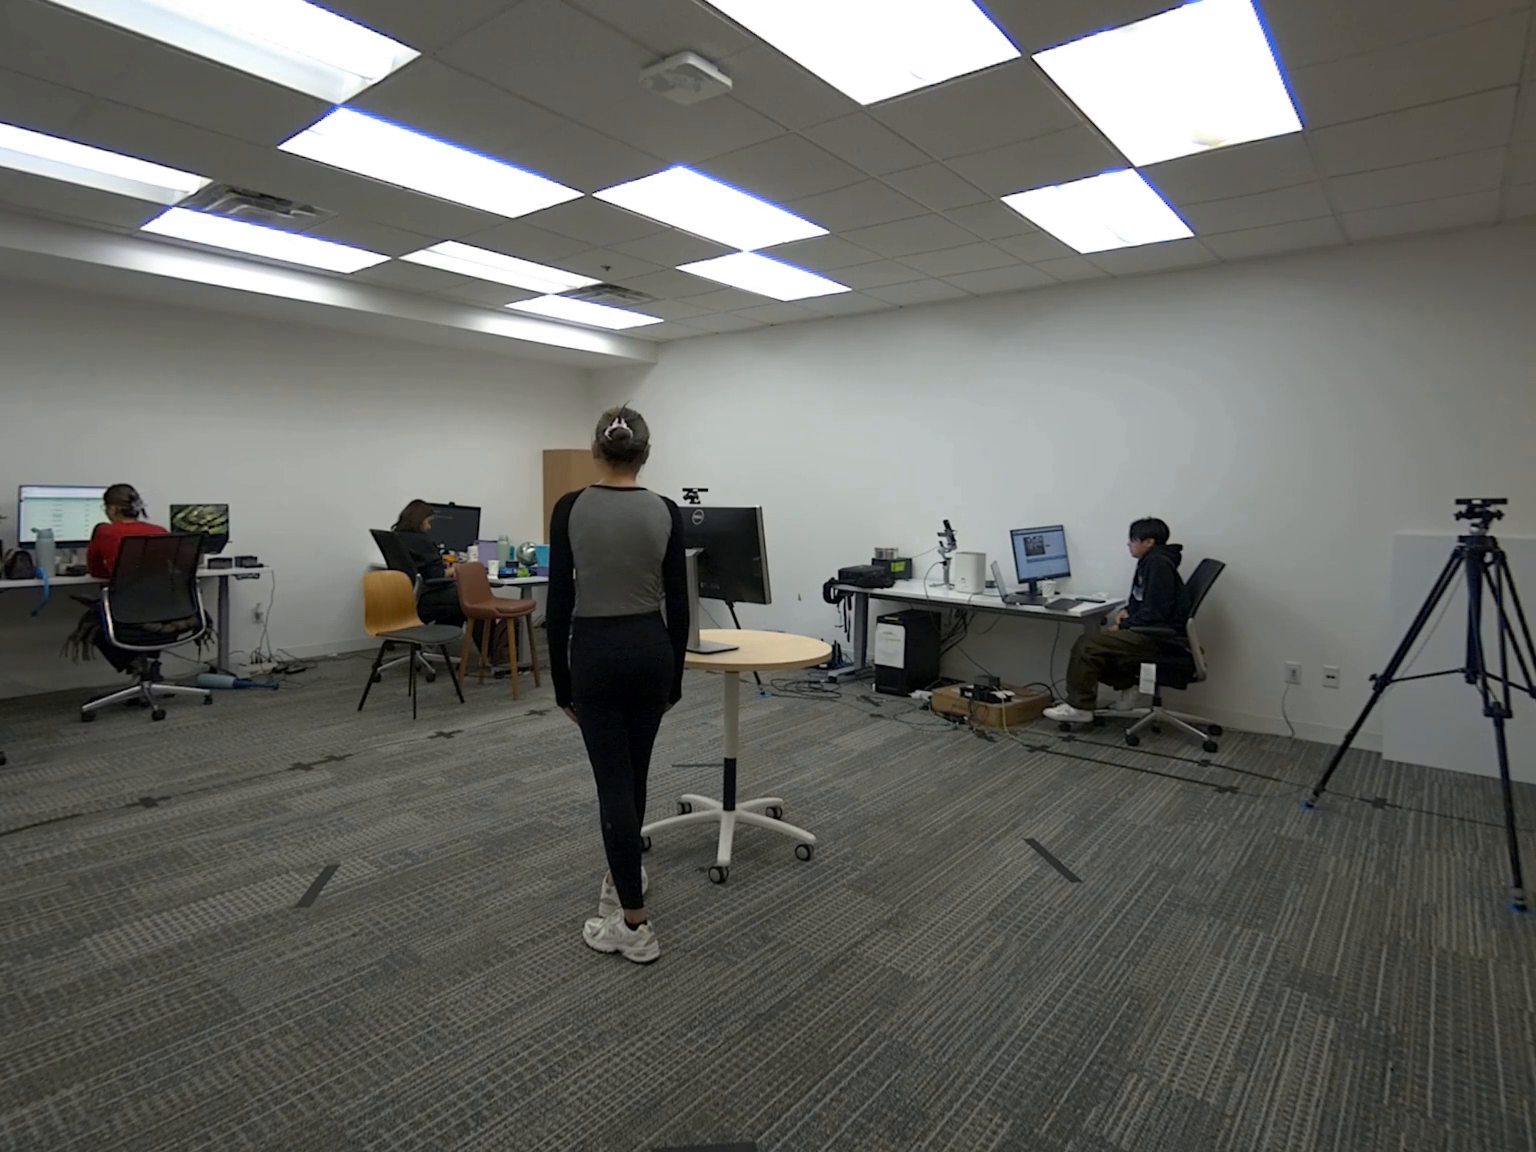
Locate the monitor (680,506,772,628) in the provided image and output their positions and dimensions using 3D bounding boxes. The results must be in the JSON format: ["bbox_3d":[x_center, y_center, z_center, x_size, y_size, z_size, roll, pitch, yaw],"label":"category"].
[{"bbox_3d":[-0.259,0.003,3.206,0.557,0.522,0.181,4,2,39],"label":"monitor"}]
